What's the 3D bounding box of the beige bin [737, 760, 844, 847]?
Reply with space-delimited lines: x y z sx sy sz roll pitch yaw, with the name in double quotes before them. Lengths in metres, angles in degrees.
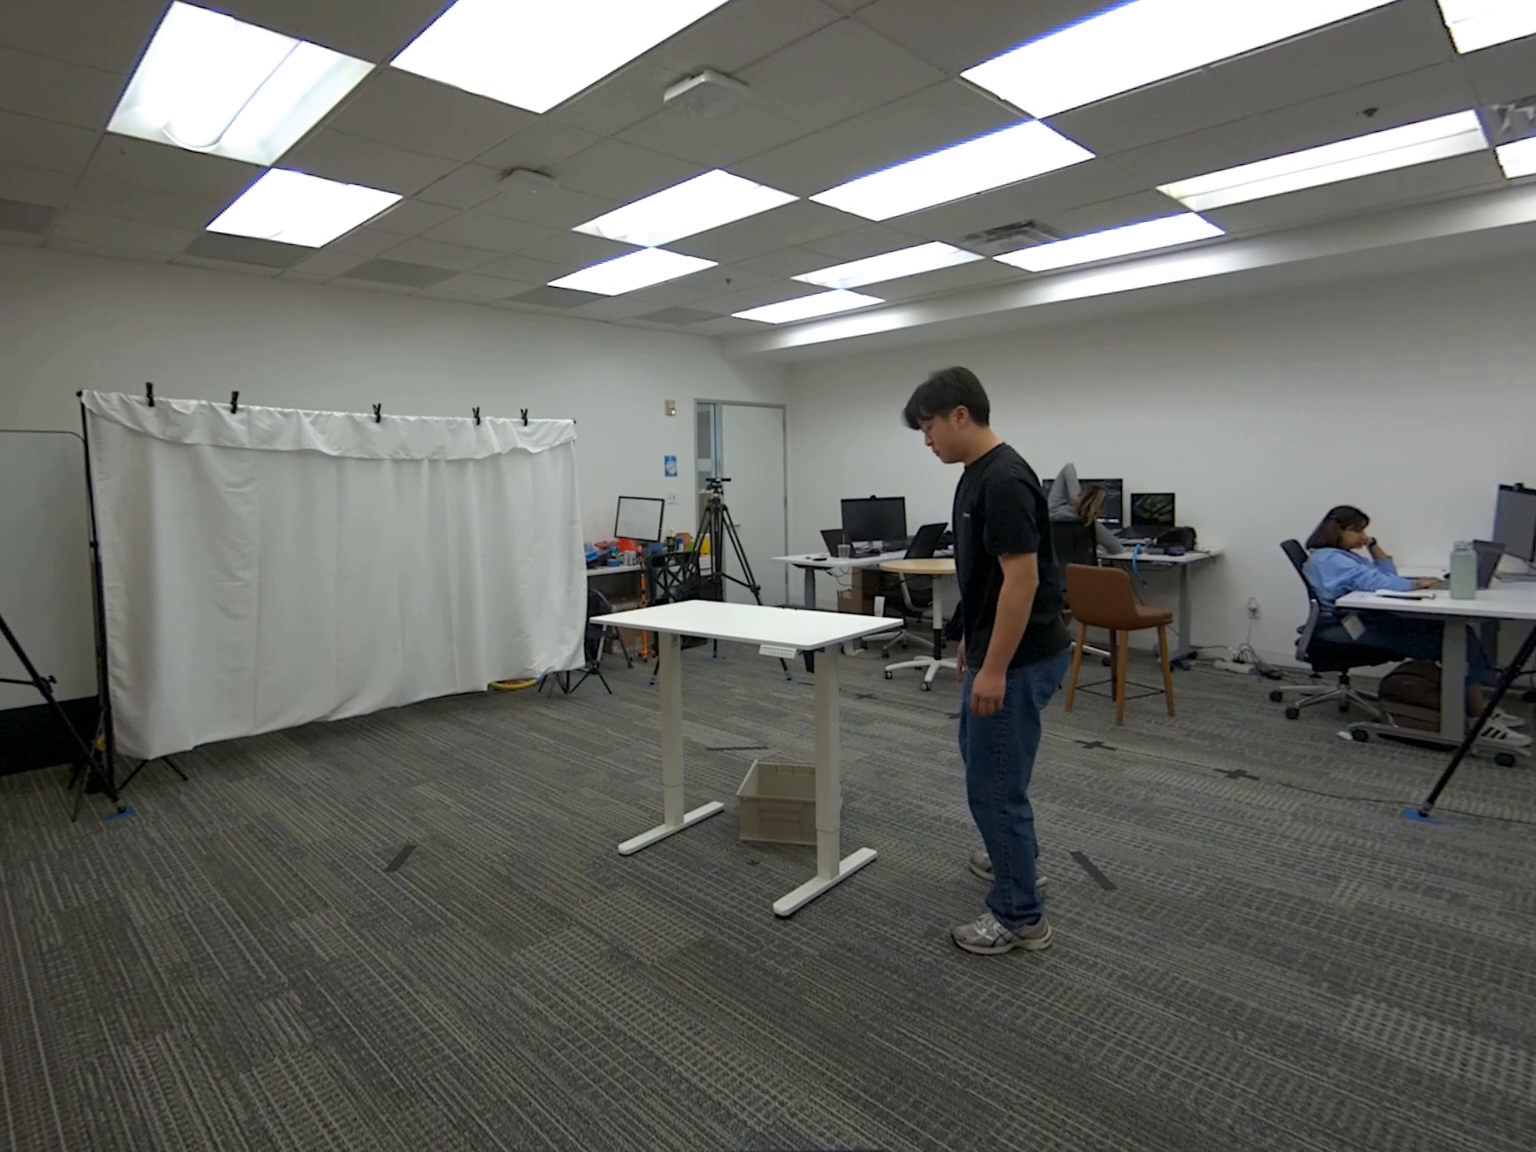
"beige bin" 0.096 0.910 3.465 0.382 0.188 0.419 0 6 11
